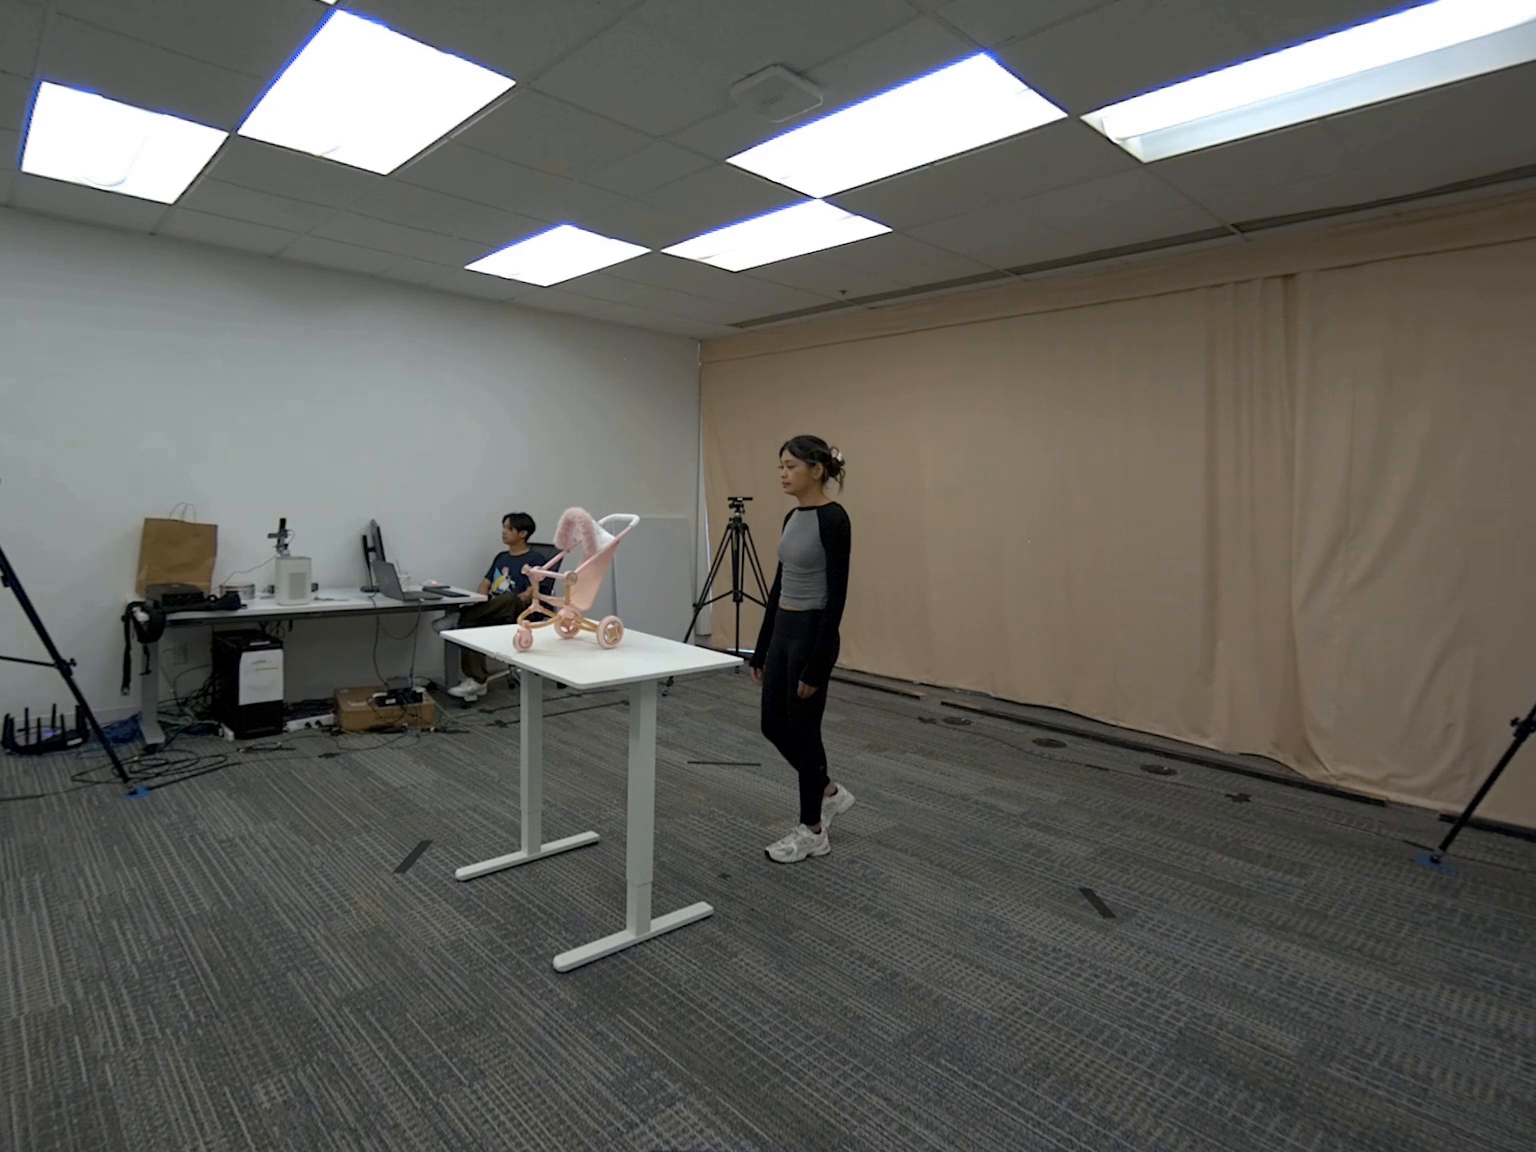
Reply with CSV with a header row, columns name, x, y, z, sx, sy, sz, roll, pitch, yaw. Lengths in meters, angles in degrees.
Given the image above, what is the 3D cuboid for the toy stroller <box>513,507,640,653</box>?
name,x,y,z,sx,sy,sz,roll,pitch,yaw
toy stroller,-0.666,0.013,2.839,0.331,0.537,0.288,17,-8,-41
